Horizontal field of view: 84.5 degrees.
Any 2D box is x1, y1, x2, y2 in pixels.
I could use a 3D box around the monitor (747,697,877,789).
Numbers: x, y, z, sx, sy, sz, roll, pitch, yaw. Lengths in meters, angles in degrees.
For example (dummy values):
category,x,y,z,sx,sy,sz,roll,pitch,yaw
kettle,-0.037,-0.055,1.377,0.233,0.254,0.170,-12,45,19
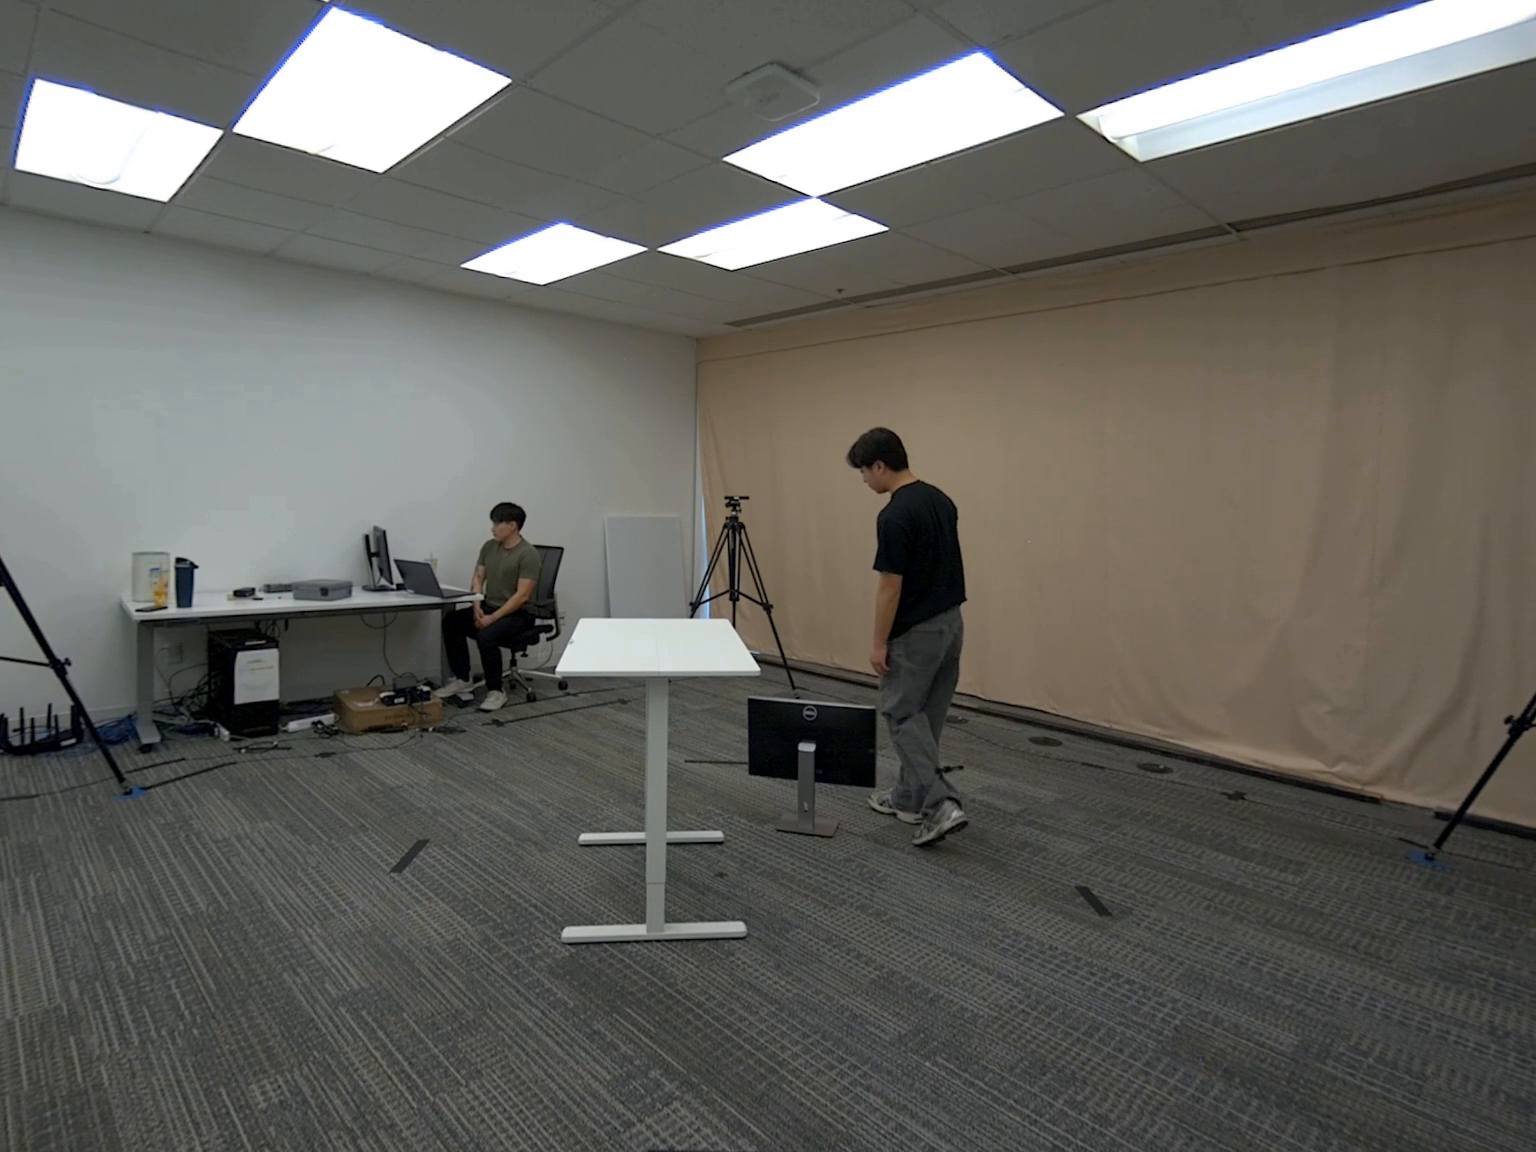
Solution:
category,x,y,z,sx,sy,sz,roll,pitch,yaw
monitor,0.169,0.808,3.591,0.569,0.567,0.219,2,-2,16
